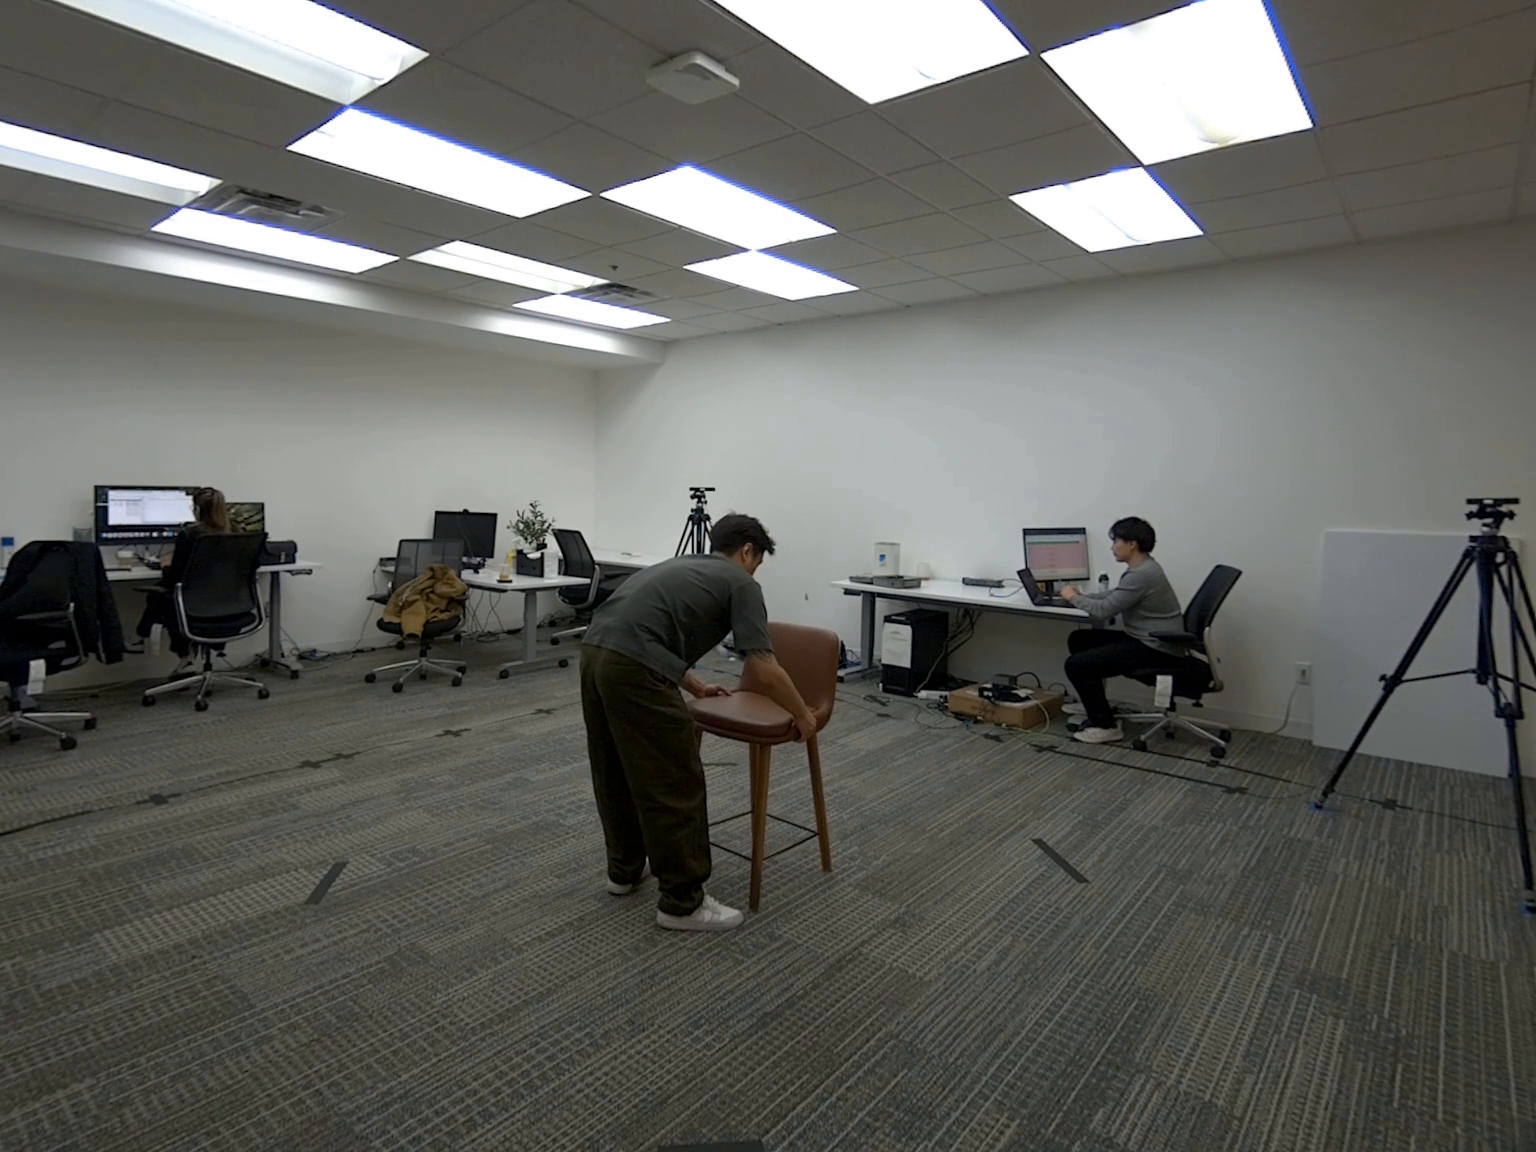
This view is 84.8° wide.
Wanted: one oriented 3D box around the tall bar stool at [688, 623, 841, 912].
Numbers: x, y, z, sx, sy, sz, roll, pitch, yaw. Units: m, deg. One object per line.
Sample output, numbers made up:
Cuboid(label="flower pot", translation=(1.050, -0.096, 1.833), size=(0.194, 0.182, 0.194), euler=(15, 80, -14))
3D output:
Cuboid(label="tall bar stool", translation=(-0.048, 0.635, 3.076), size=(0.472, 0.888, 0.453), euler=(4, 2, 42))
